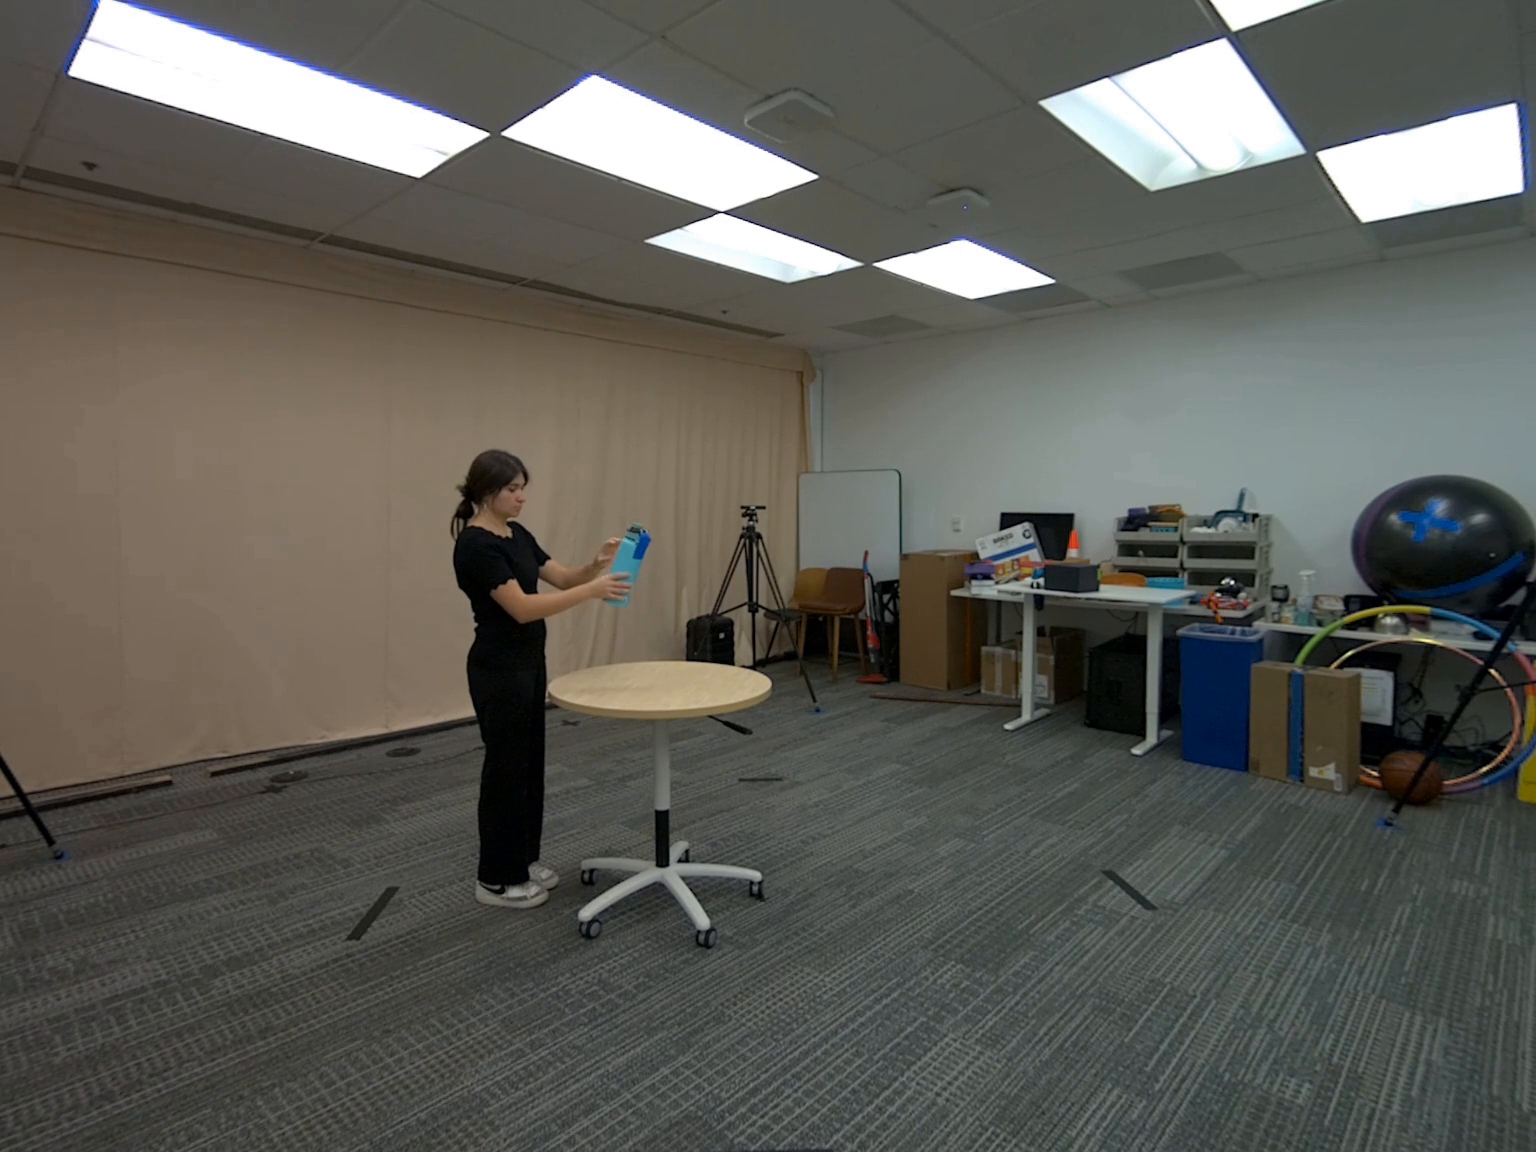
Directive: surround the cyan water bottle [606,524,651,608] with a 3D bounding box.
[{"bbox_3d":[-0.481,-0.033,2.865,0.092,0.283,0.093,21,7,-5],"label":"cyan water bottle"}]
